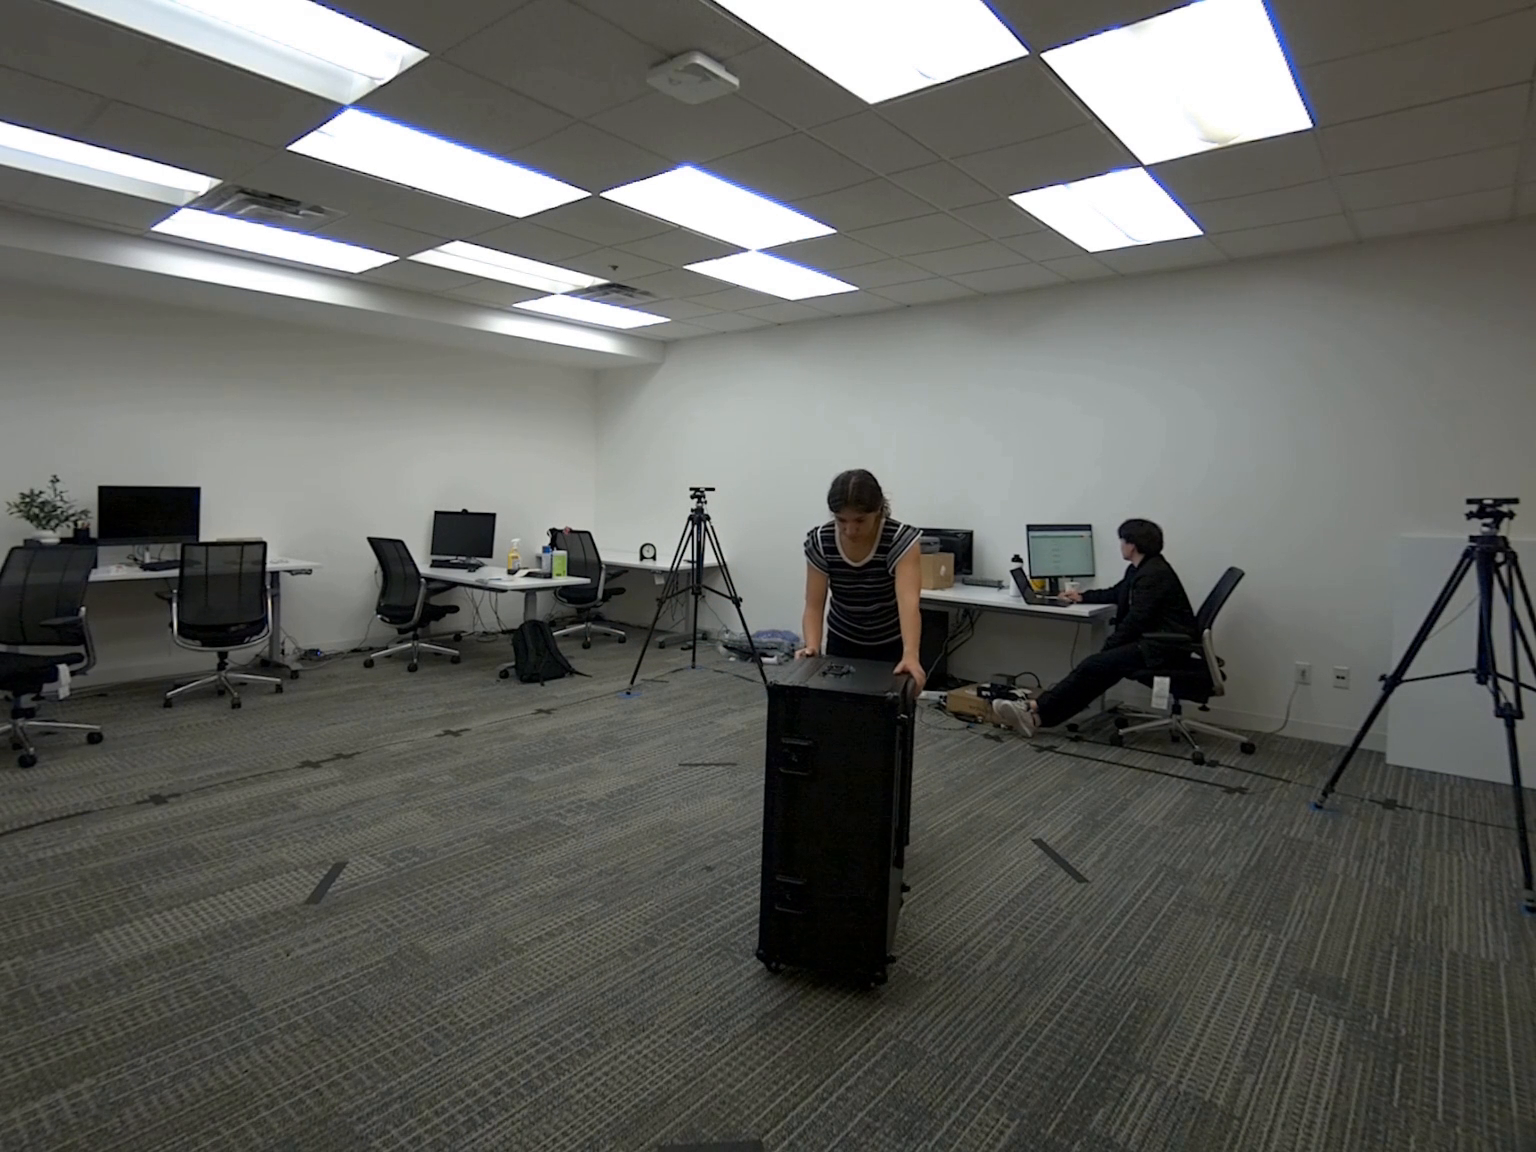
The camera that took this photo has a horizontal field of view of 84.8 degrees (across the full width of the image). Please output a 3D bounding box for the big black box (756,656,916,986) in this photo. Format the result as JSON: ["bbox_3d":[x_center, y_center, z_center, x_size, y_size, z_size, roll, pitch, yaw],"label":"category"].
[{"bbox_3d":[0.209,0.709,2.537,0.404,0.859,0.513,3,3,16],"label":"big black box"}]
